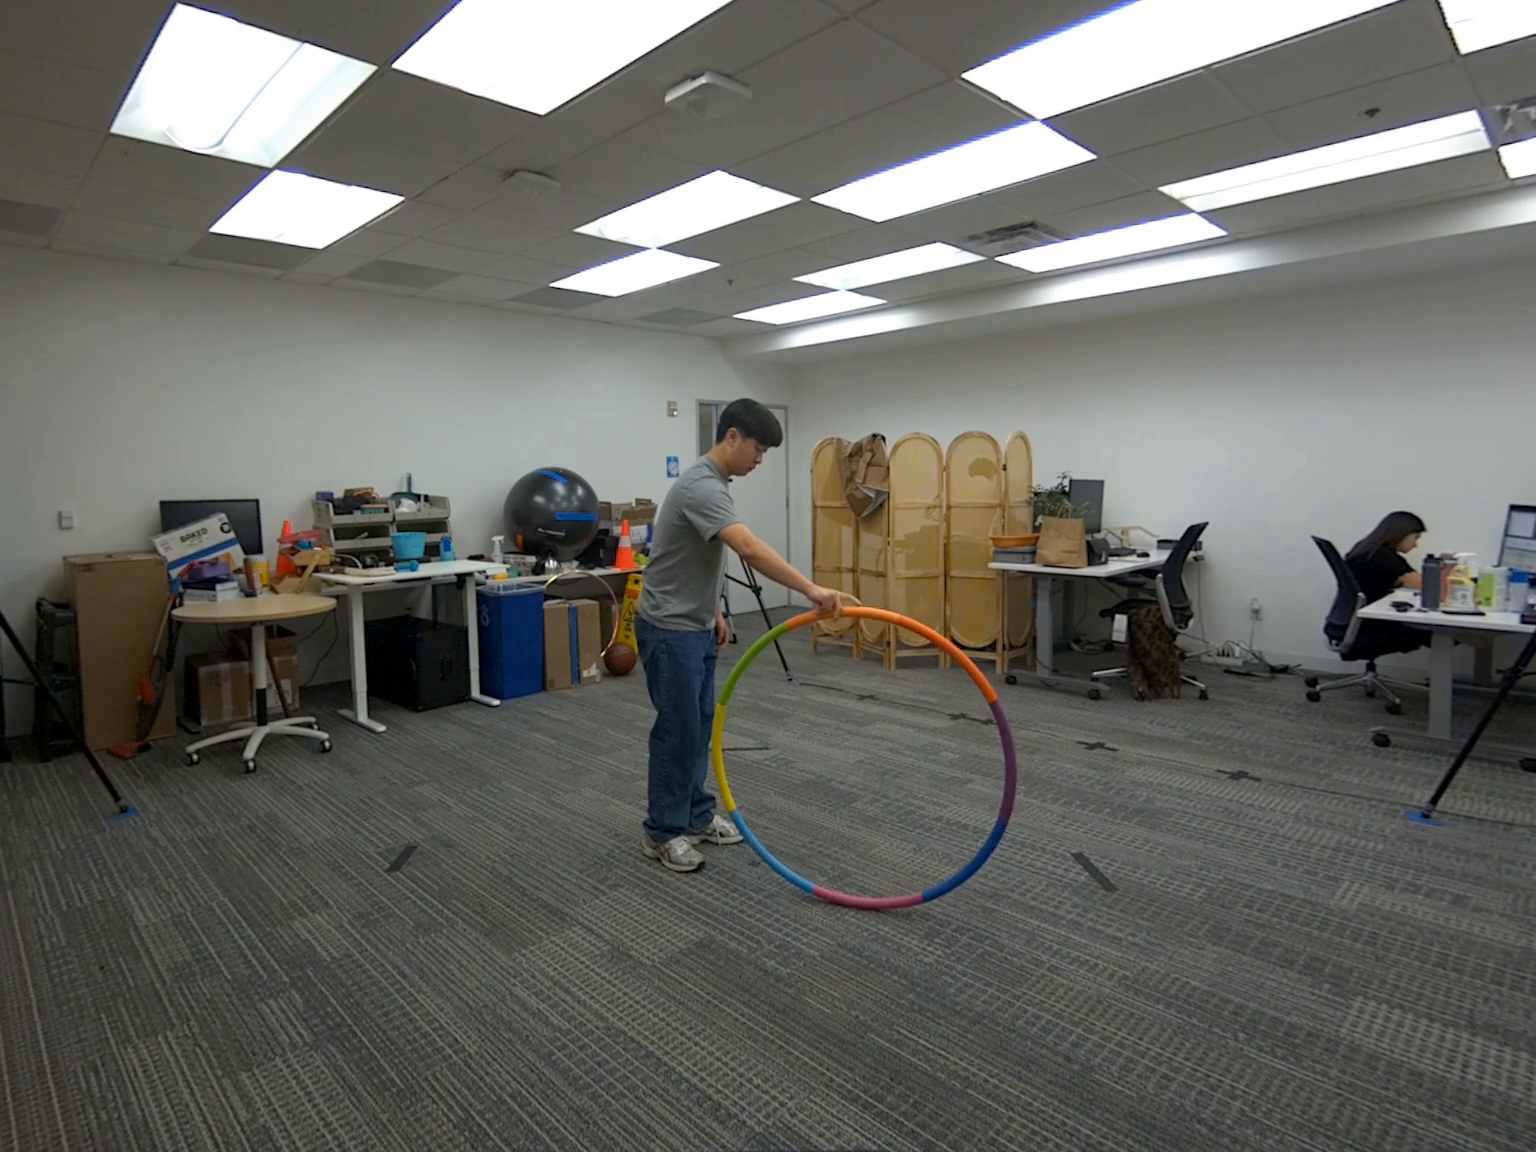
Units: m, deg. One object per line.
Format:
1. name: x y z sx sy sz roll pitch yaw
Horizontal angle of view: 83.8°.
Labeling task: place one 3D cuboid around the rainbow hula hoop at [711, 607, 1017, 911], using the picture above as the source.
1. rainbow hula hoop: 0.279 0.588 2.763 0.998 0.976 0.035 1 2 21
